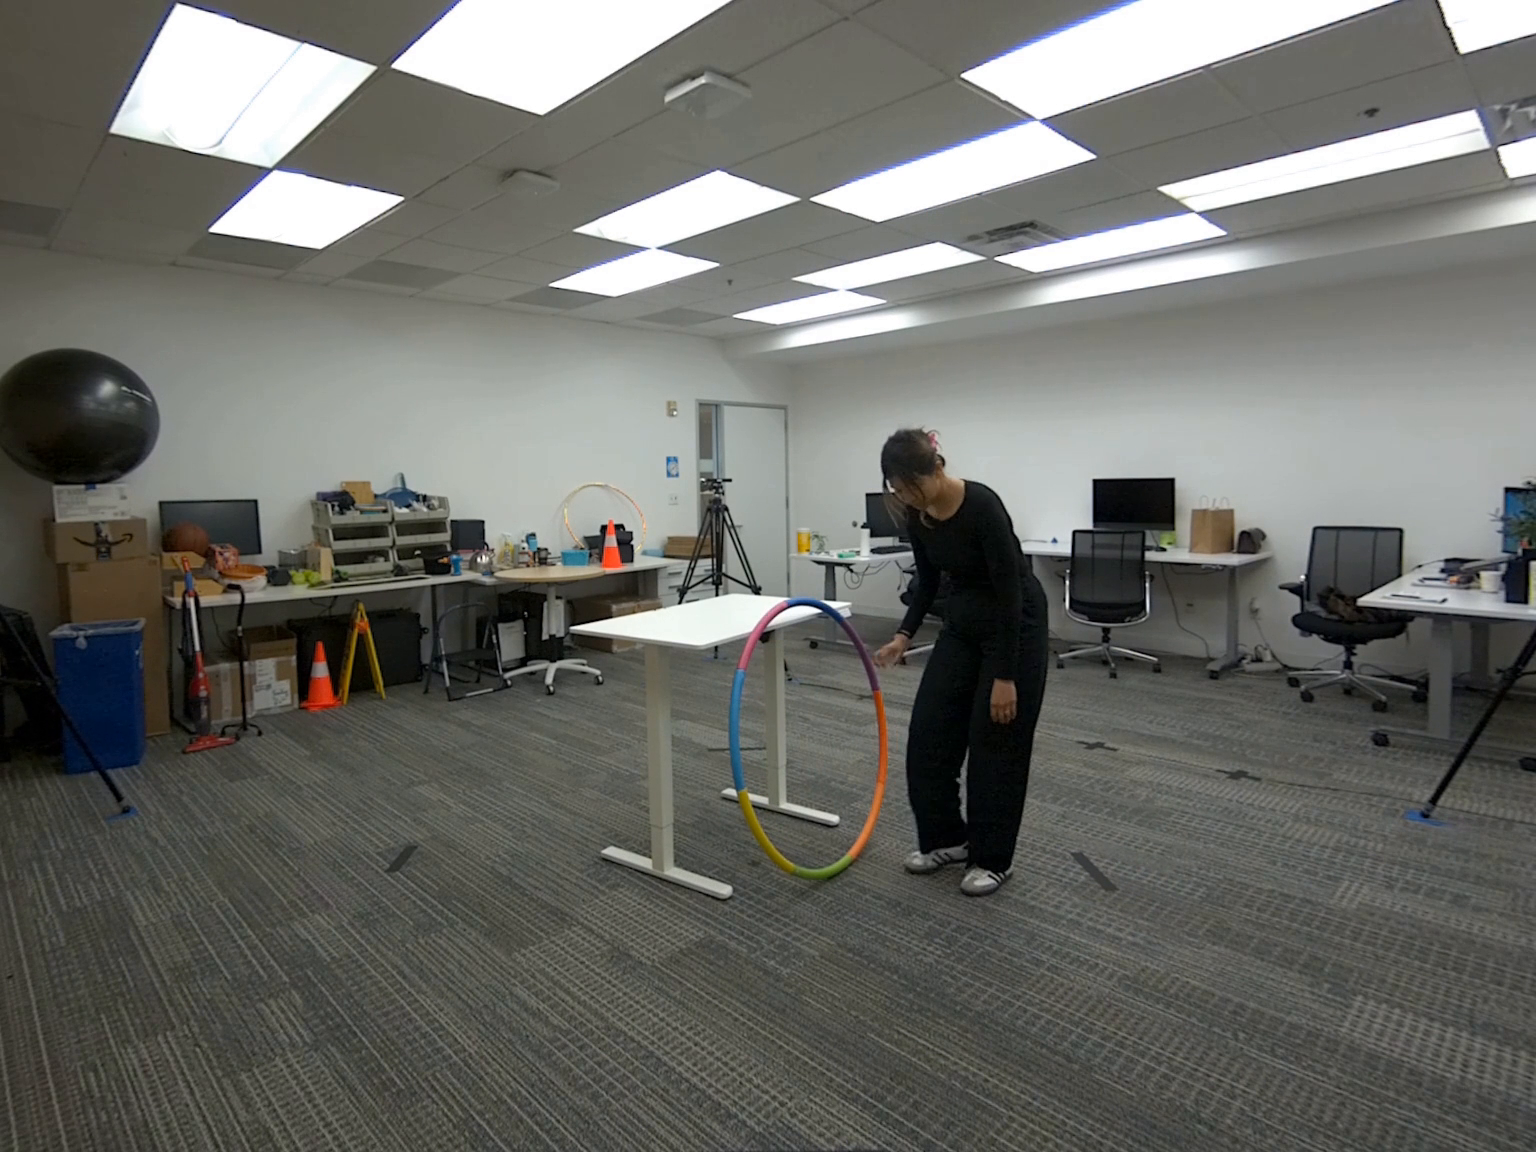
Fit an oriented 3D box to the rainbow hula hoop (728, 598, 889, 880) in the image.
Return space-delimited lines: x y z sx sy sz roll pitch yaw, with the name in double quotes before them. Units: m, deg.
"rainbow hula hoop" 0.178 0.564 3.066 0.036 0.982 0.954 -13 -4 36
